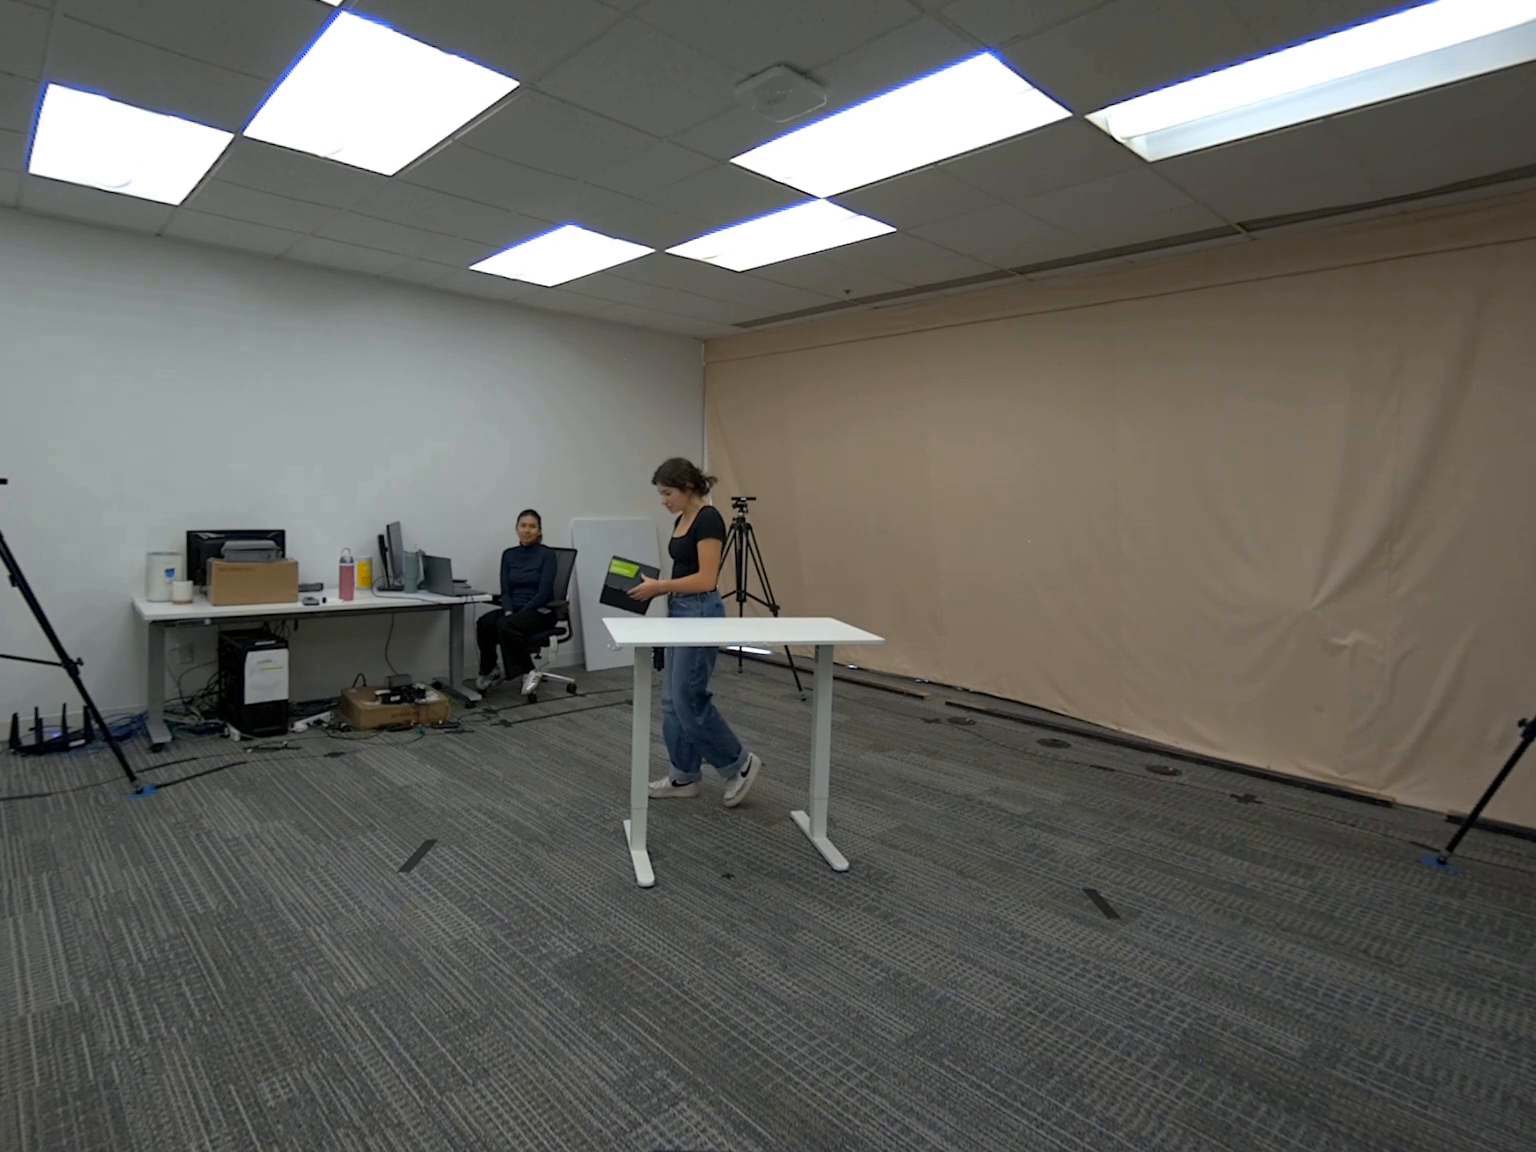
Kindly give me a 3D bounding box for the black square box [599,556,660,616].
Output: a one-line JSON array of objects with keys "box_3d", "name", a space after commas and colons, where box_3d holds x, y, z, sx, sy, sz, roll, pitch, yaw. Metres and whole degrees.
[{"box_3d": [-0.640, 0.038, 3.893, 0.226, 0.158, 0.216, 17, -25, -10], "name": "black square box"}]
